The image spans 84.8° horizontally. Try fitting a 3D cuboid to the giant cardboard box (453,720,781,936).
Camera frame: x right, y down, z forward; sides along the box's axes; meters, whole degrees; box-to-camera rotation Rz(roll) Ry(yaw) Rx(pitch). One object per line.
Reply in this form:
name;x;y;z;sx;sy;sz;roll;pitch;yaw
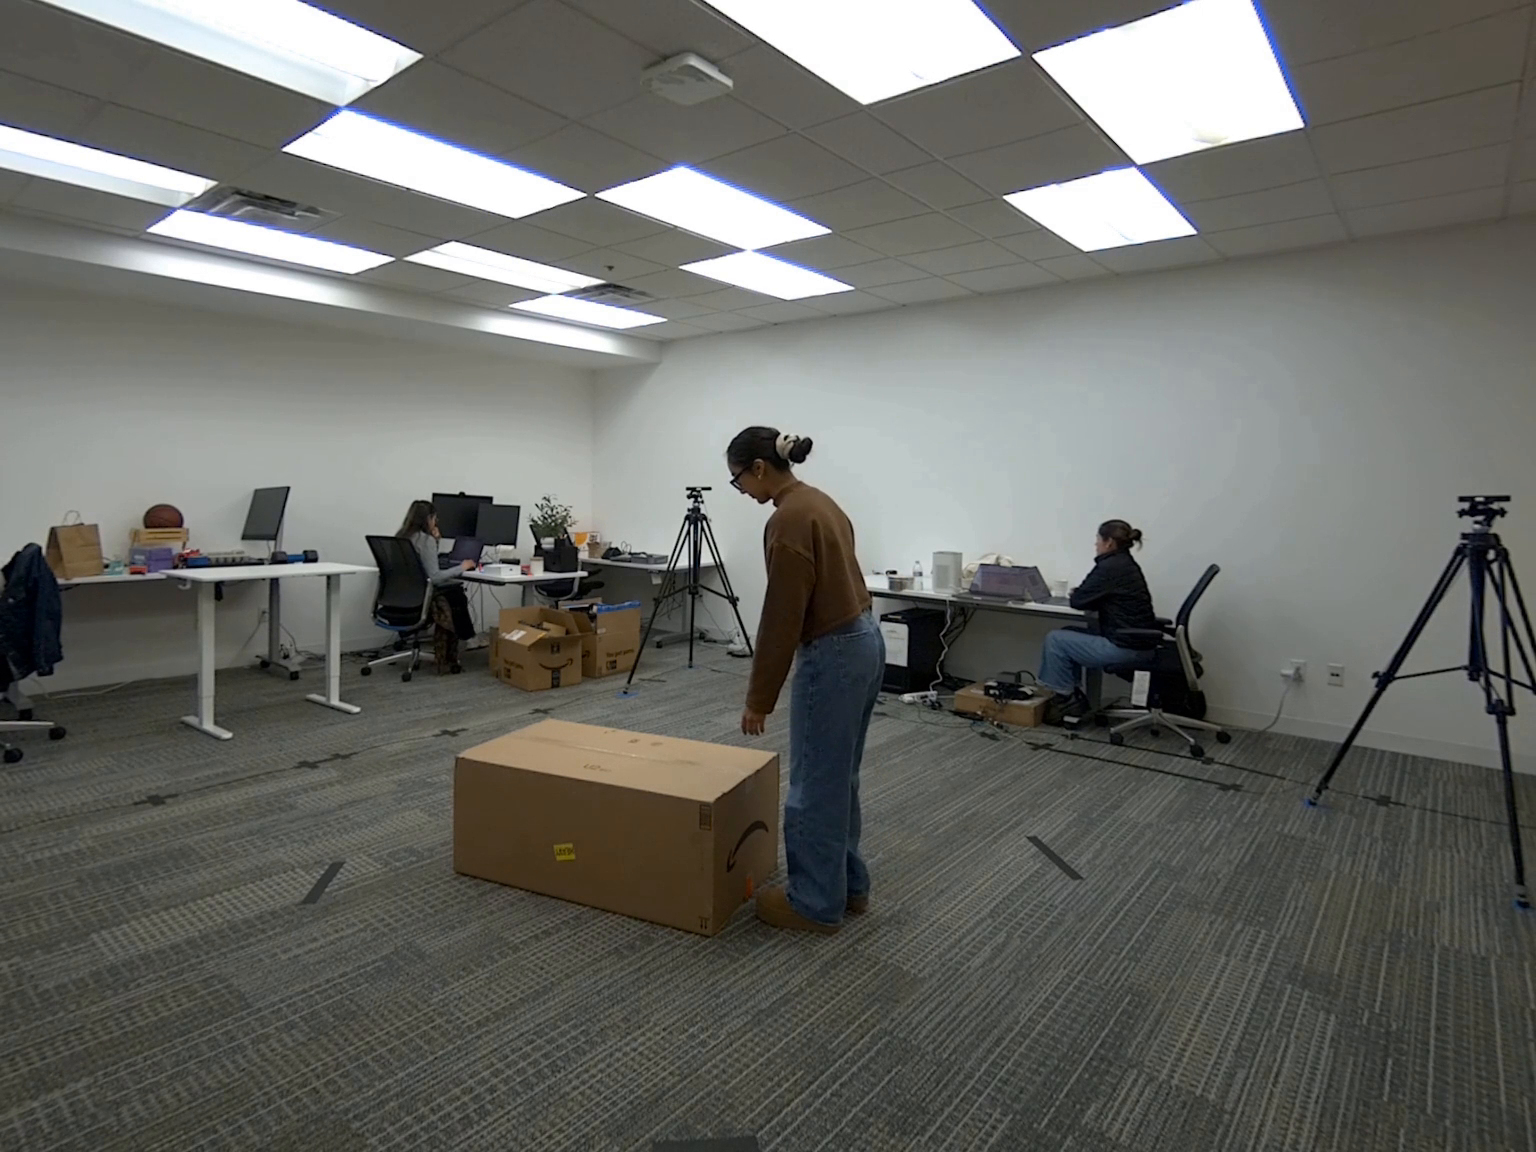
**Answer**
giant cardboard box;-0.555;0.849;3.076;1.052;0.445;0.572;3;6;23
